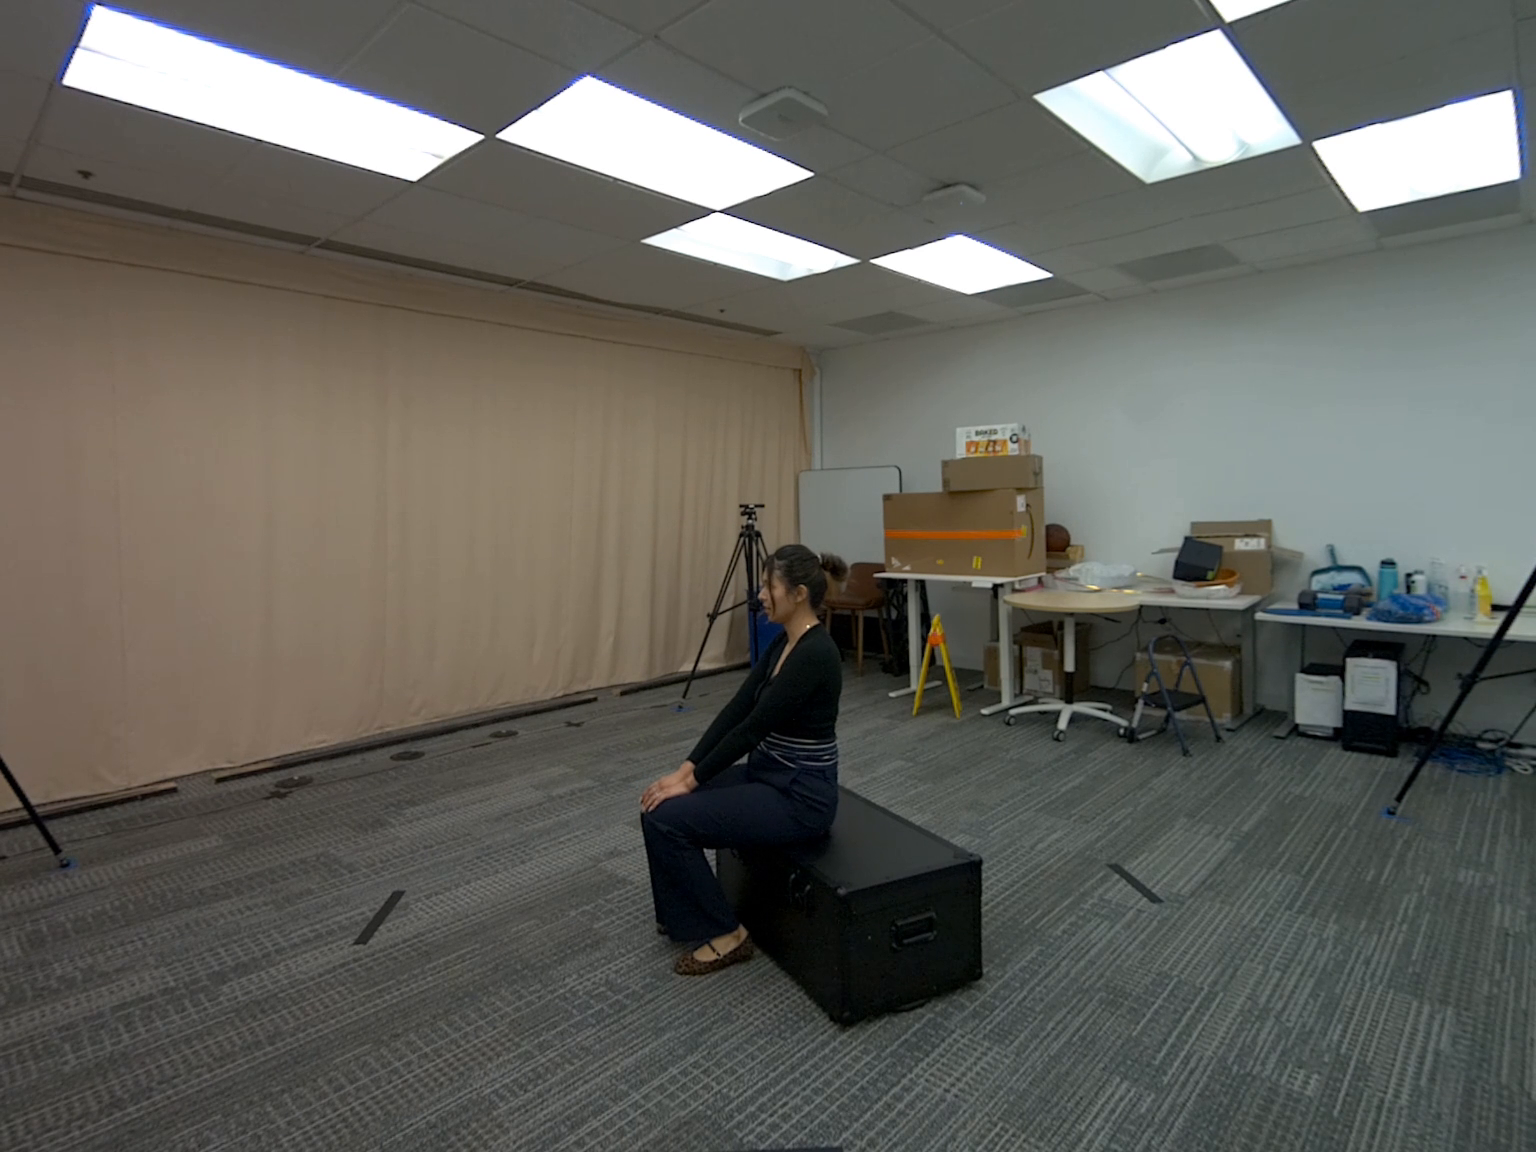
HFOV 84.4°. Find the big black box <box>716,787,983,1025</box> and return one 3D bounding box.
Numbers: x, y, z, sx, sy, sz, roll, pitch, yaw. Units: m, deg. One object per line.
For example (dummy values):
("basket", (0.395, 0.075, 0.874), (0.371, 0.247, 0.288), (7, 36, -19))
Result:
("big black box", (0.234, 0.975, 2.623), (0.508, 0.395, 0.885), (-3, 5, -28))
